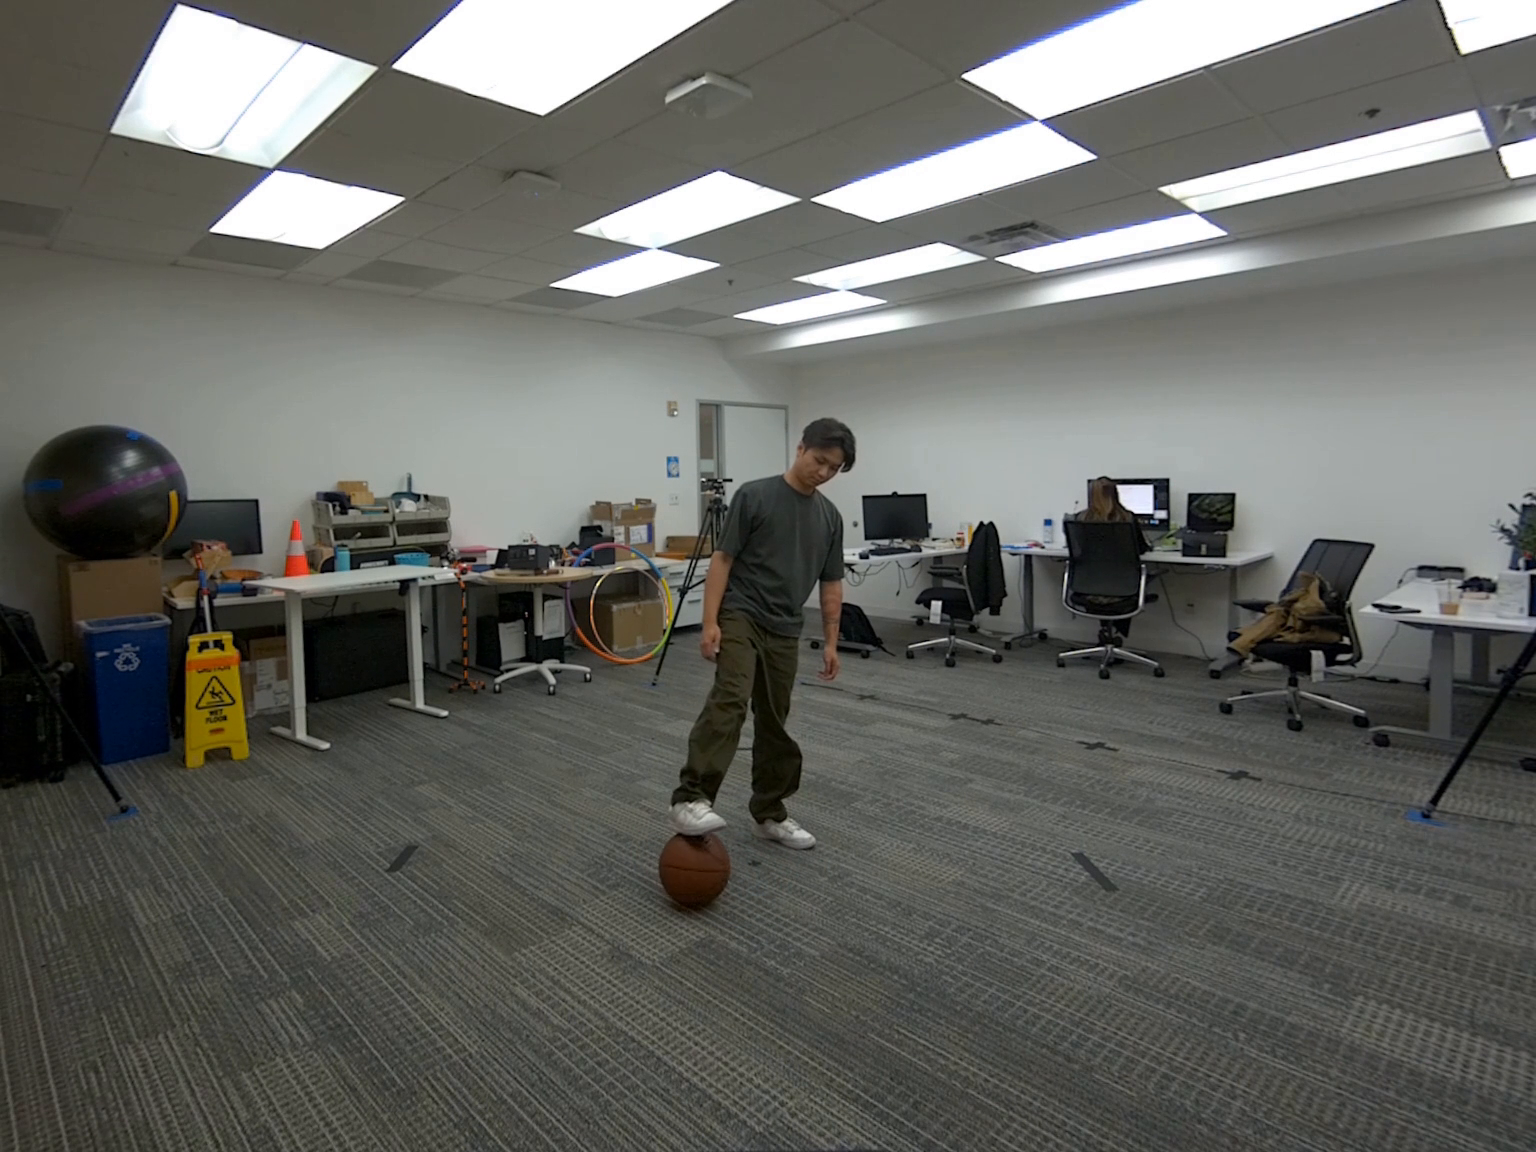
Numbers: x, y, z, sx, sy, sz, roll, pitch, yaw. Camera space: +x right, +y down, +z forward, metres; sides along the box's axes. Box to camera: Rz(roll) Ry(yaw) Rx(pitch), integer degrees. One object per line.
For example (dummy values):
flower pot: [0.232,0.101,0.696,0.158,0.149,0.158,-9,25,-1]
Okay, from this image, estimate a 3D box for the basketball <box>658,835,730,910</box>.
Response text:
basketball: [-0.237,0.964,2.827,0.236,0.235,0.237,-1,5,-2]
